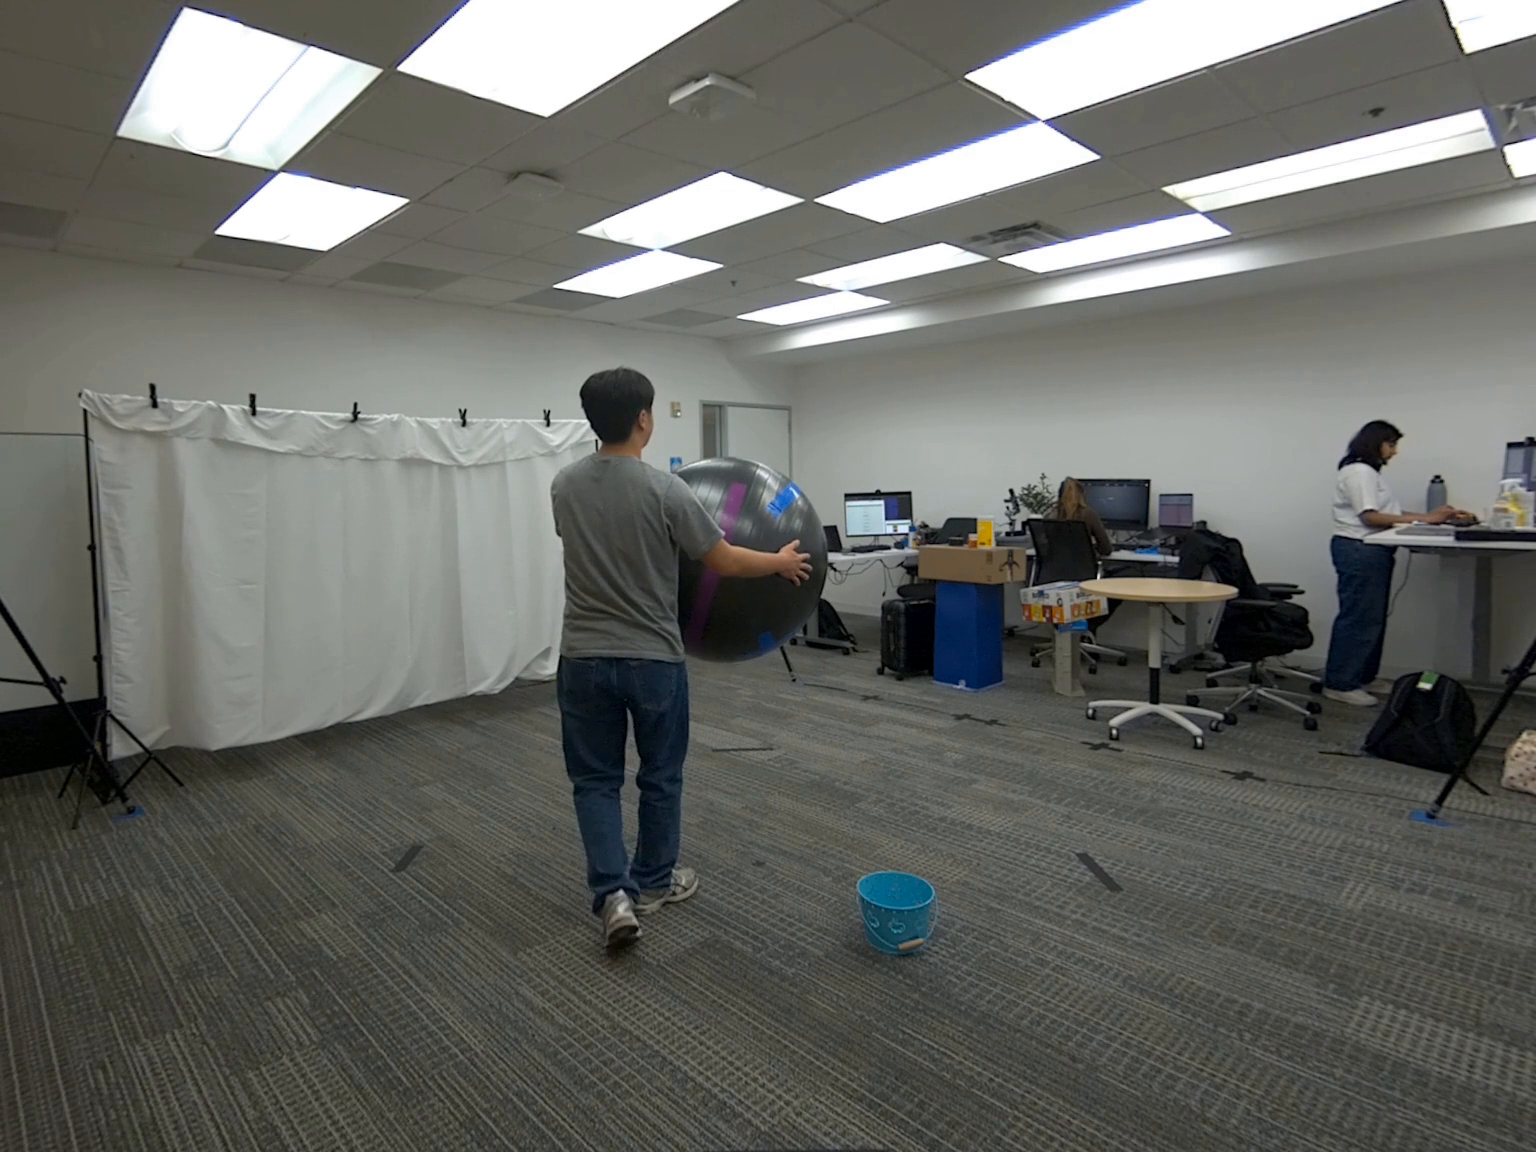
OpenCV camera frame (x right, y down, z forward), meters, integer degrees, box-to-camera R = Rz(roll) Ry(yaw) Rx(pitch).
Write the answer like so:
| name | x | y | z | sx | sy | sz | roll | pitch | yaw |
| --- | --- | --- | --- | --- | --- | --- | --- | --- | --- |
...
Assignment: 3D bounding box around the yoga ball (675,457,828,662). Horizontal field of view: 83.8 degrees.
| name | x | y | z | sx | sy | sz | roll | pitch | yaw |
| --- | --- | --- | --- | --- | --- | --- | --- | --- | --- |
| yoga ball | -0.170 | -0.057 | 3.157 | 0.757 | 0.755 | 0.762 | -1 | 5 | -2 |
